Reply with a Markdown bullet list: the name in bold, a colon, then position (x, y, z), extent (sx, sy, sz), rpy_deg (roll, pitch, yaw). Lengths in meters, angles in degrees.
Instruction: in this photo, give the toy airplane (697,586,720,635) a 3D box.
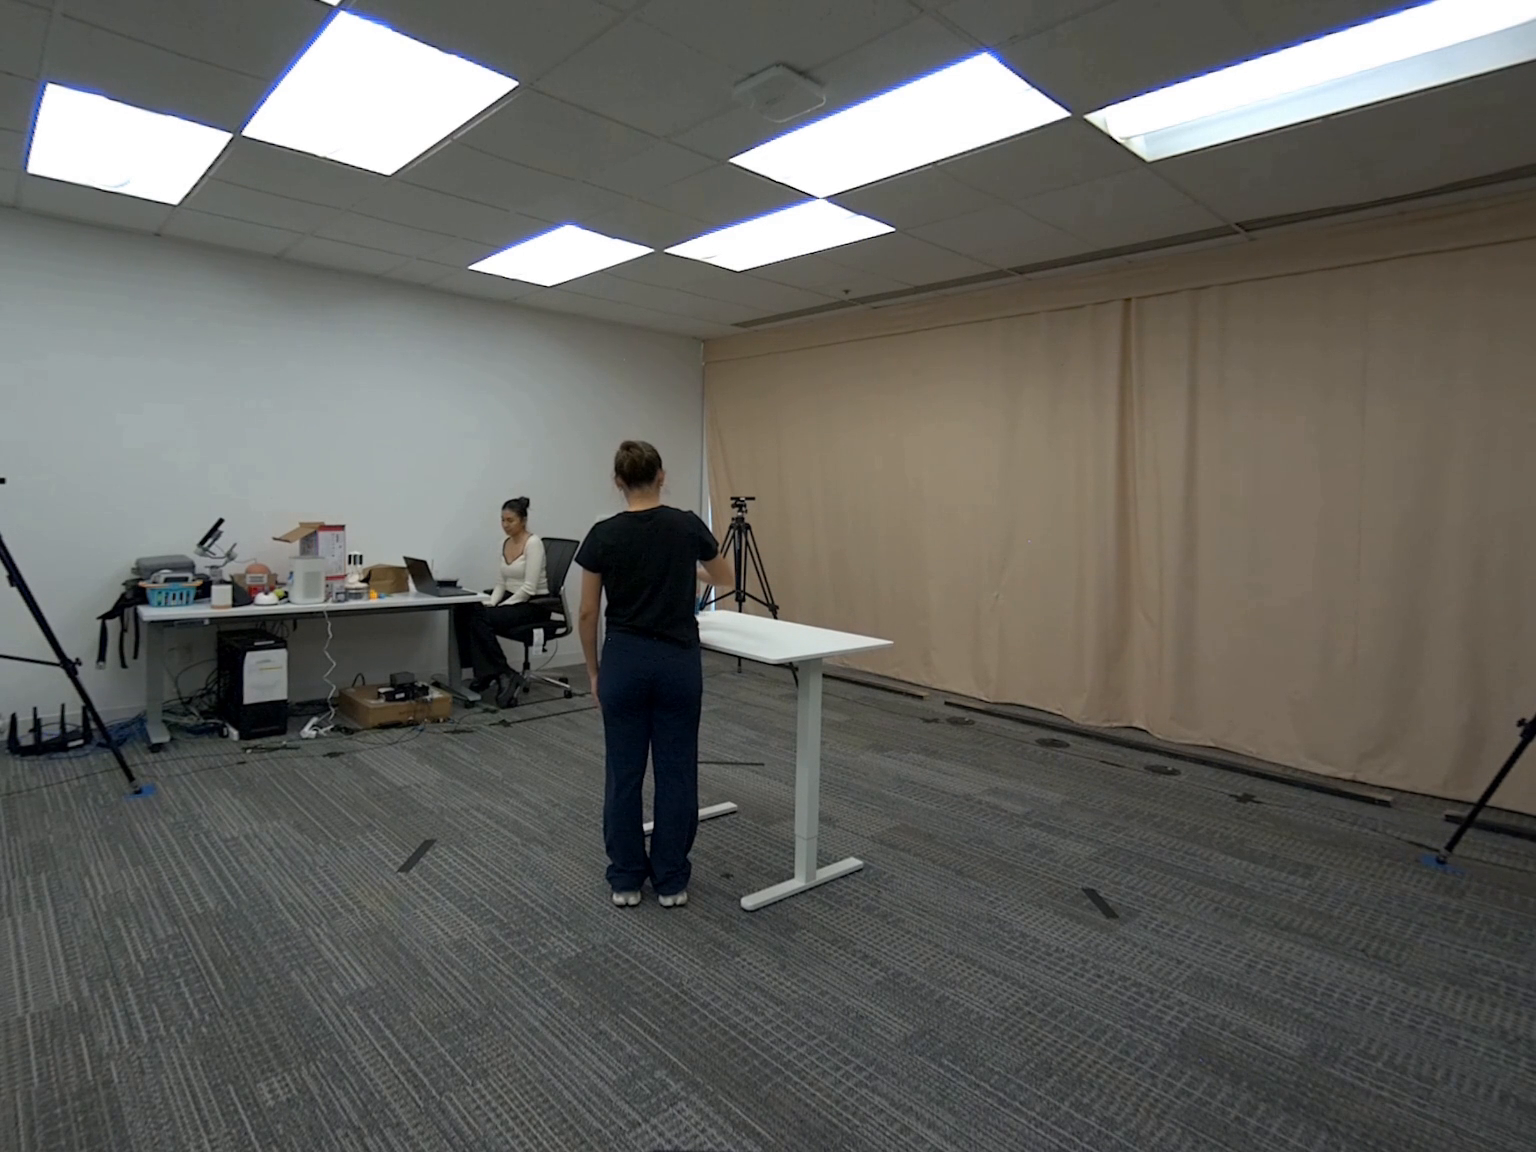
- **toy airplane**: position (-0.357, 0.126, 3.333), extent (0.263, 0.156, 0.248), rpy_deg (2, 4, 16)
